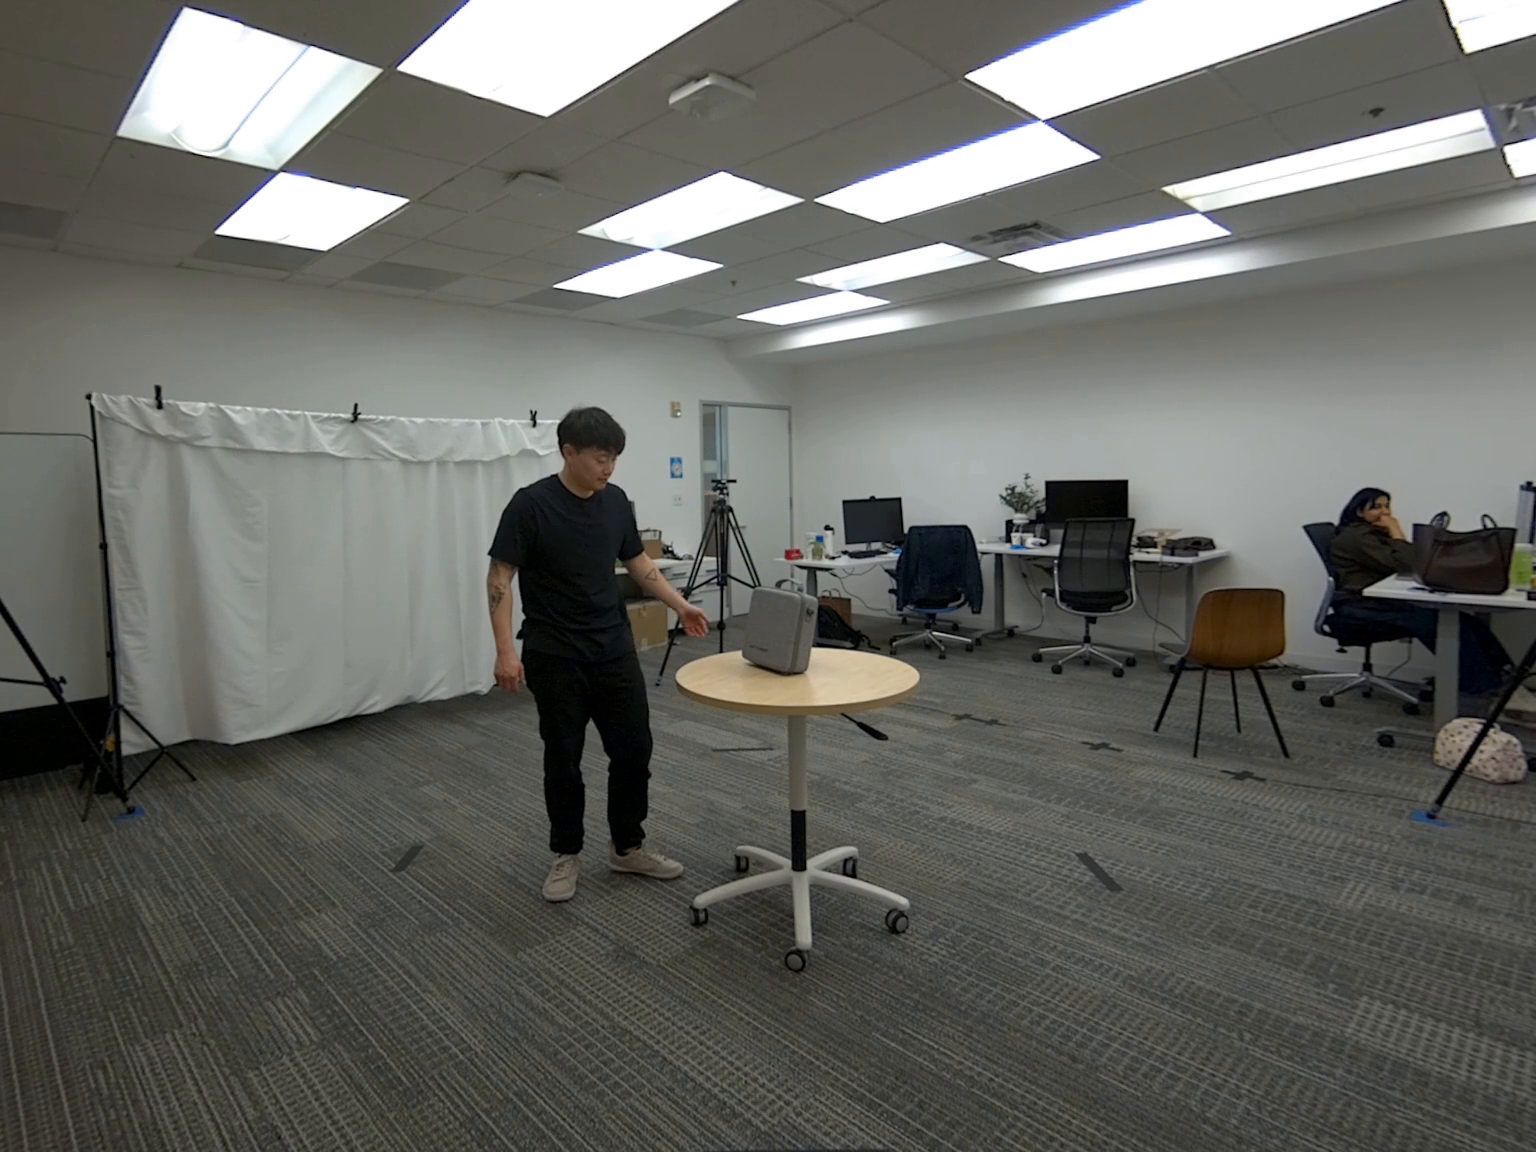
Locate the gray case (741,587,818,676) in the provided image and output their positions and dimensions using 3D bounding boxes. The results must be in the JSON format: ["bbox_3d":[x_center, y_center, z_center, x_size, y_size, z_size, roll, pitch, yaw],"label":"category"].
[{"bbox_3d":[0.033,0.168,2.777,0.101,0.261,0.265,10,-1,-35],"label":"gray case"}]
